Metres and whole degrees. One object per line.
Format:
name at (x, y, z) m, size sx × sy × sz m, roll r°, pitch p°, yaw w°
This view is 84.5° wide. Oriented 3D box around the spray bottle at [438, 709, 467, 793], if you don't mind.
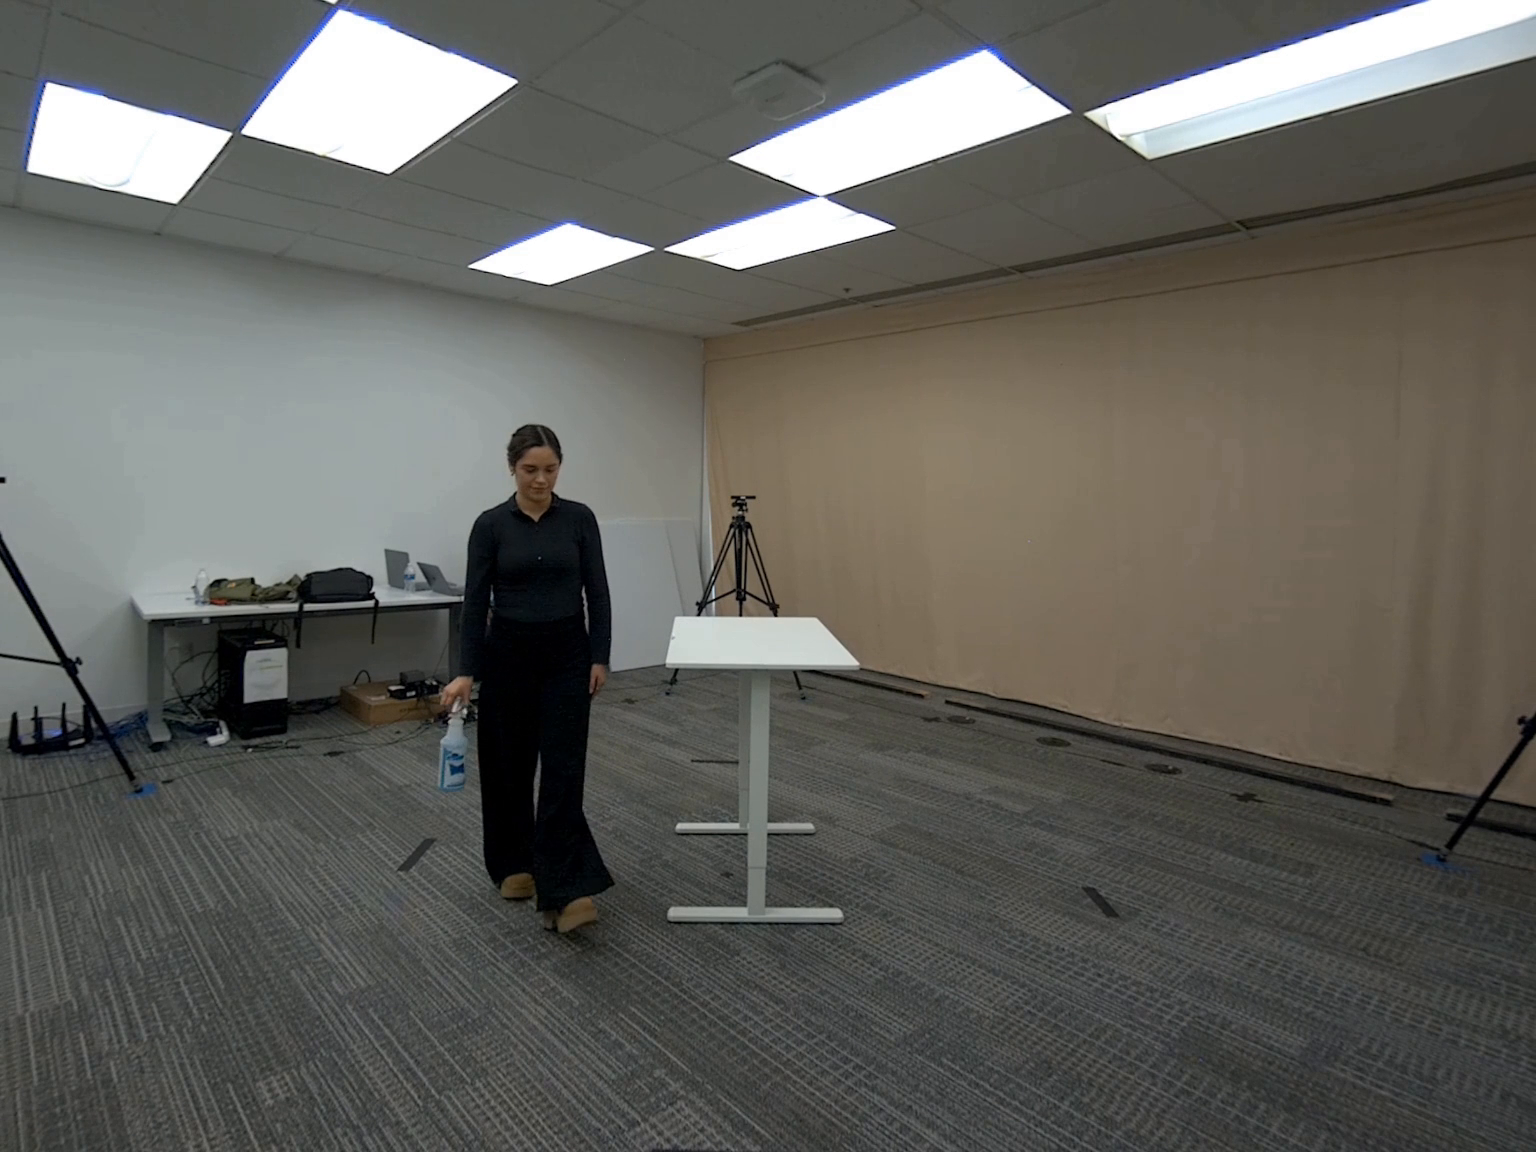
spray bottle at (-1.016, 0.544, 2.722) m, size 0.088 × 0.297 × 0.089 m, roll 7°, pitch 3°, yaw 15°
